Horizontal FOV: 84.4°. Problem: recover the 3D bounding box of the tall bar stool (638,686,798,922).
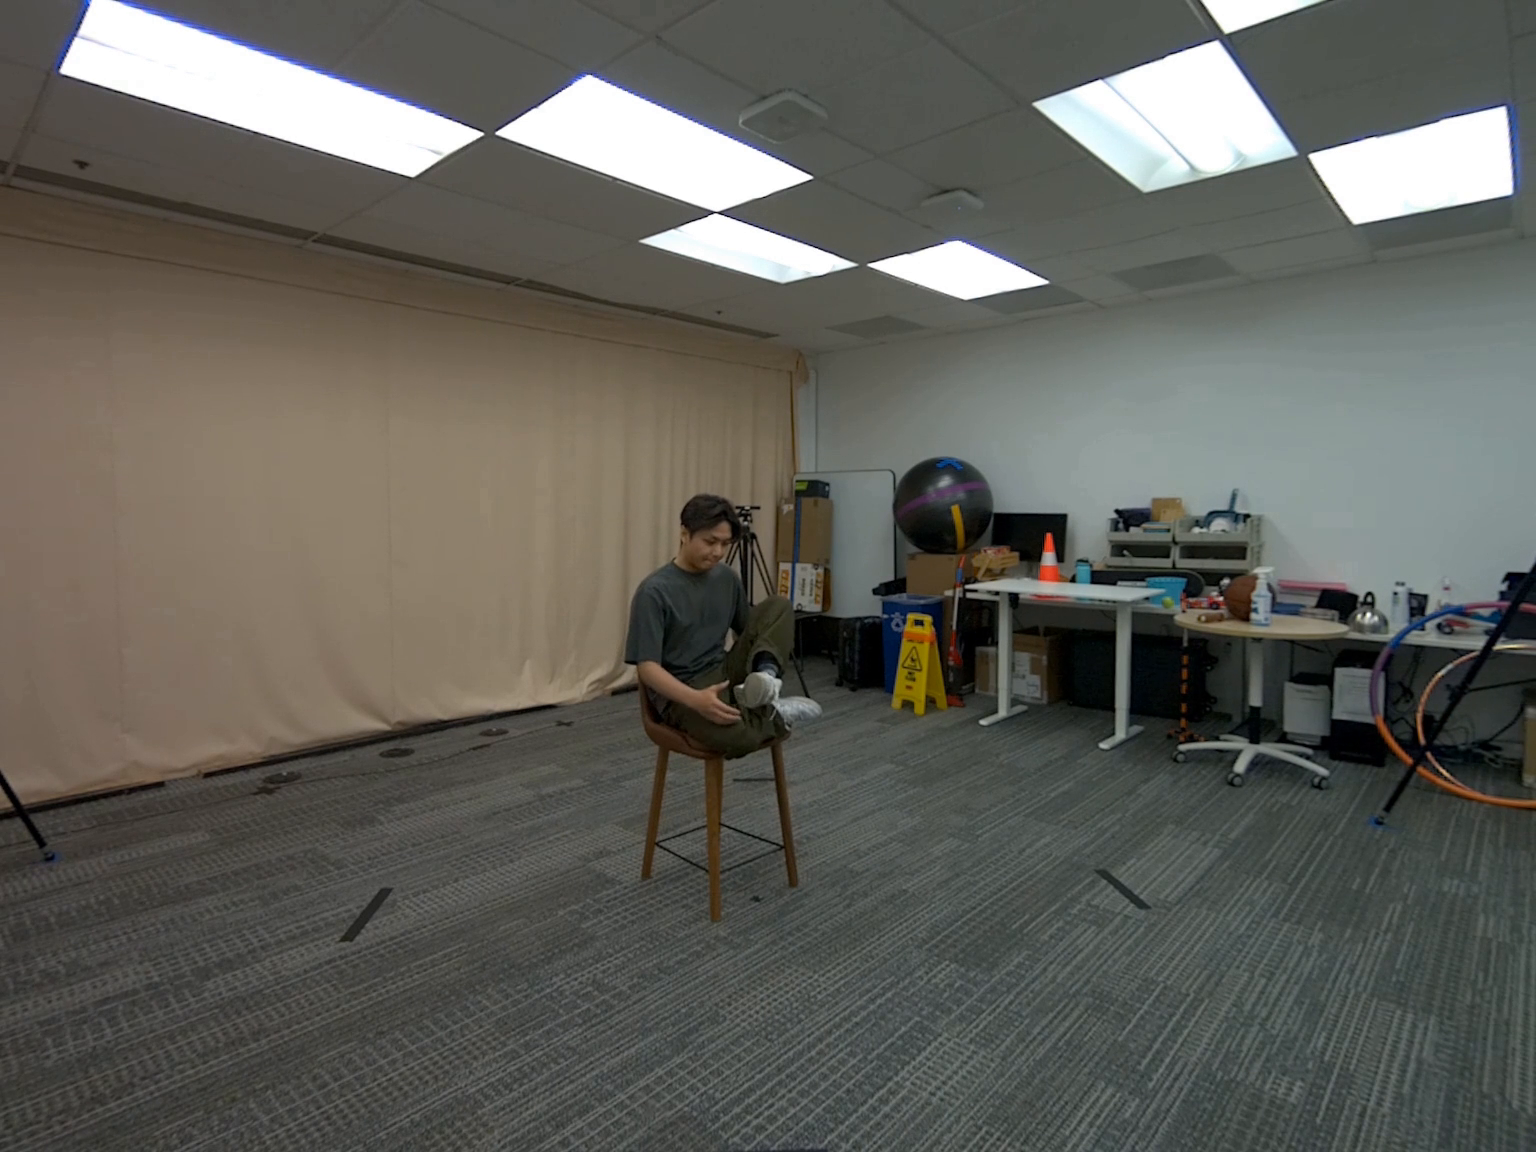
[{"bbox_3d":[-0.195,0.700,3.099,0.442,0.889,0.482,-4,2,-42],"label":"tall bar stool"}]
